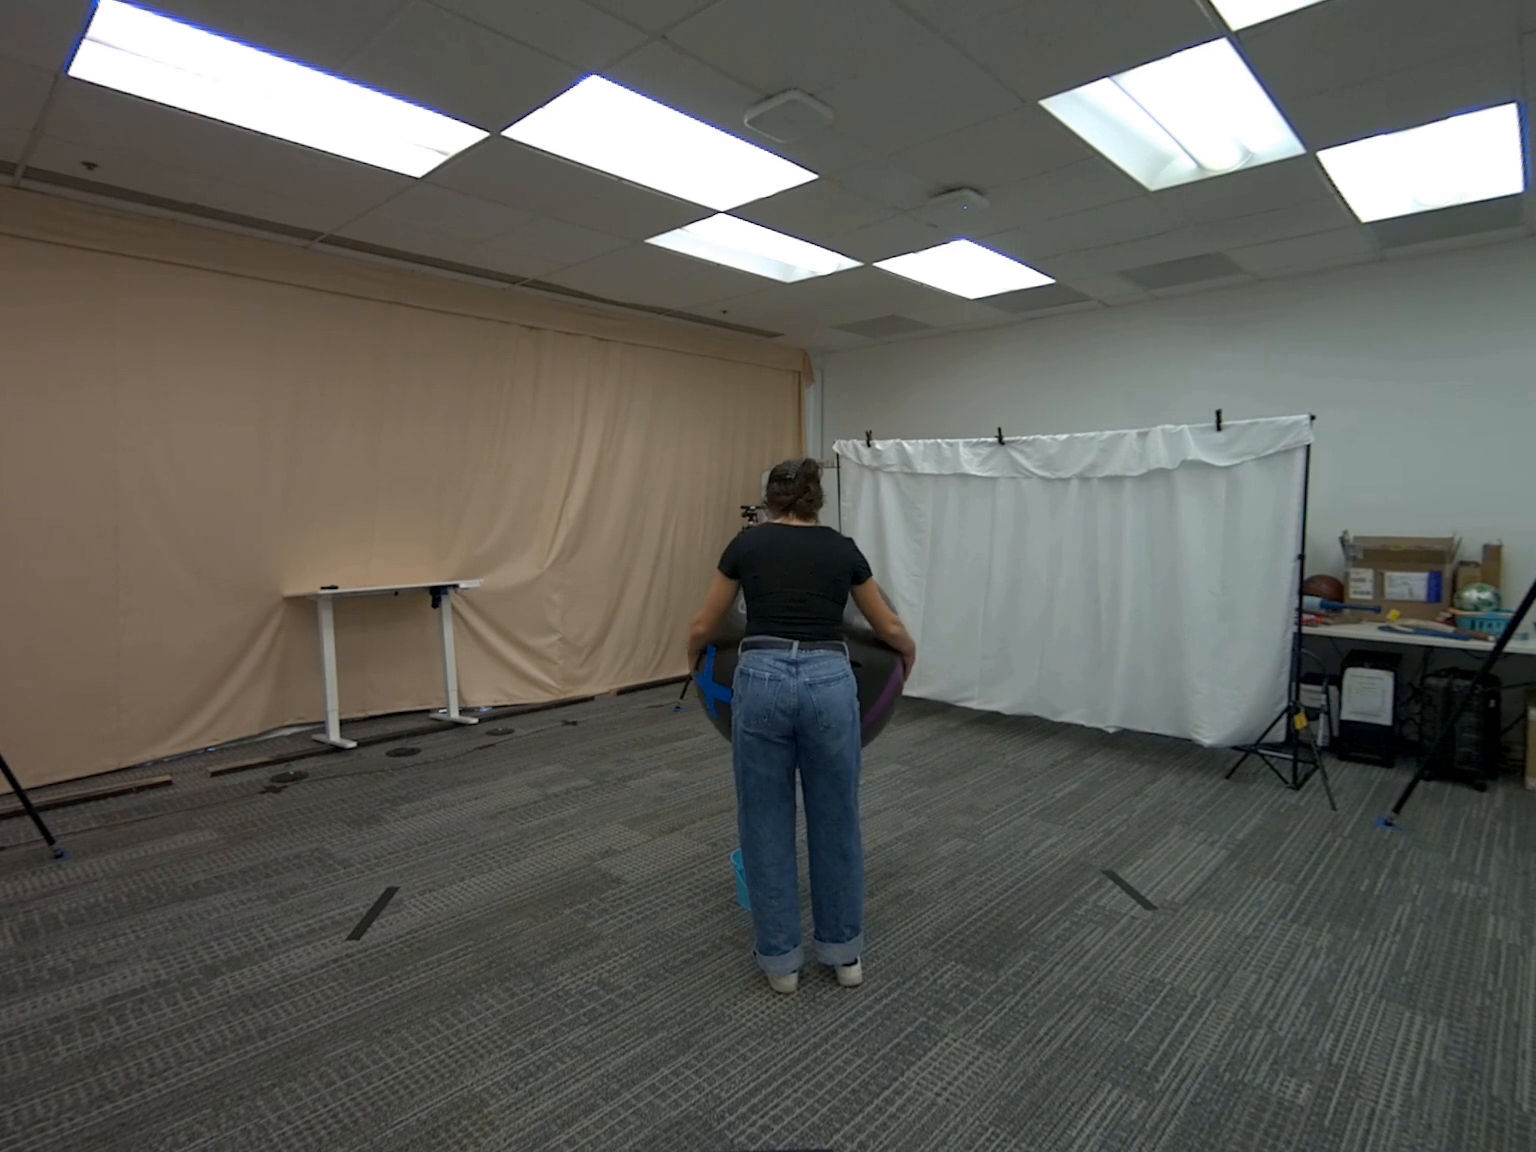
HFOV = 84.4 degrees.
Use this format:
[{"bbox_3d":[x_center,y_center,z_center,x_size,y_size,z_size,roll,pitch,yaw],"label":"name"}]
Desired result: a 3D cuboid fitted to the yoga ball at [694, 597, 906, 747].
[{"bbox_3d":[0.110,0.291,2.978,0.757,0.756,0.760,0,4,-2],"label":"yoga ball"}]
